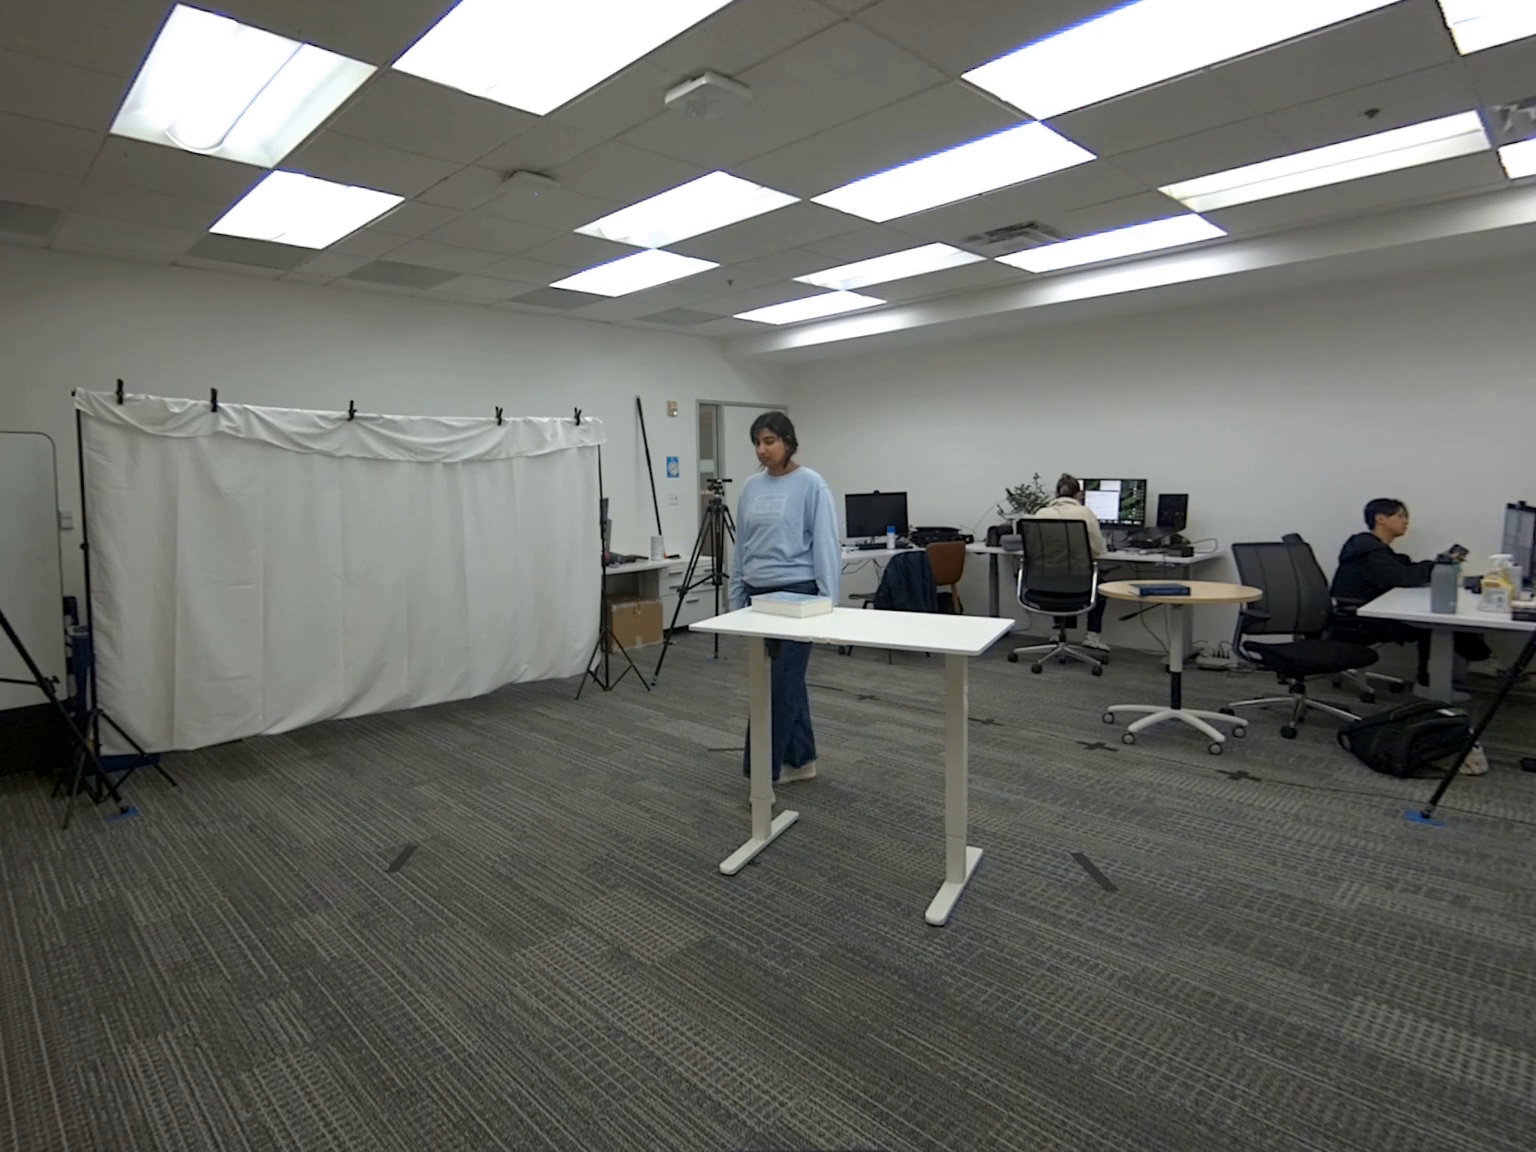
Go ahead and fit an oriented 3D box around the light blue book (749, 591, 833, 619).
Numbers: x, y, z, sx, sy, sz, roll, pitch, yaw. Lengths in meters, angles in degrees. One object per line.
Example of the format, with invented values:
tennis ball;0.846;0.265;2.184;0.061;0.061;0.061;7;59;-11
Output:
light blue book;0.097;0.111;3.275;0.186;0.059;0.269;-7;8;-44
